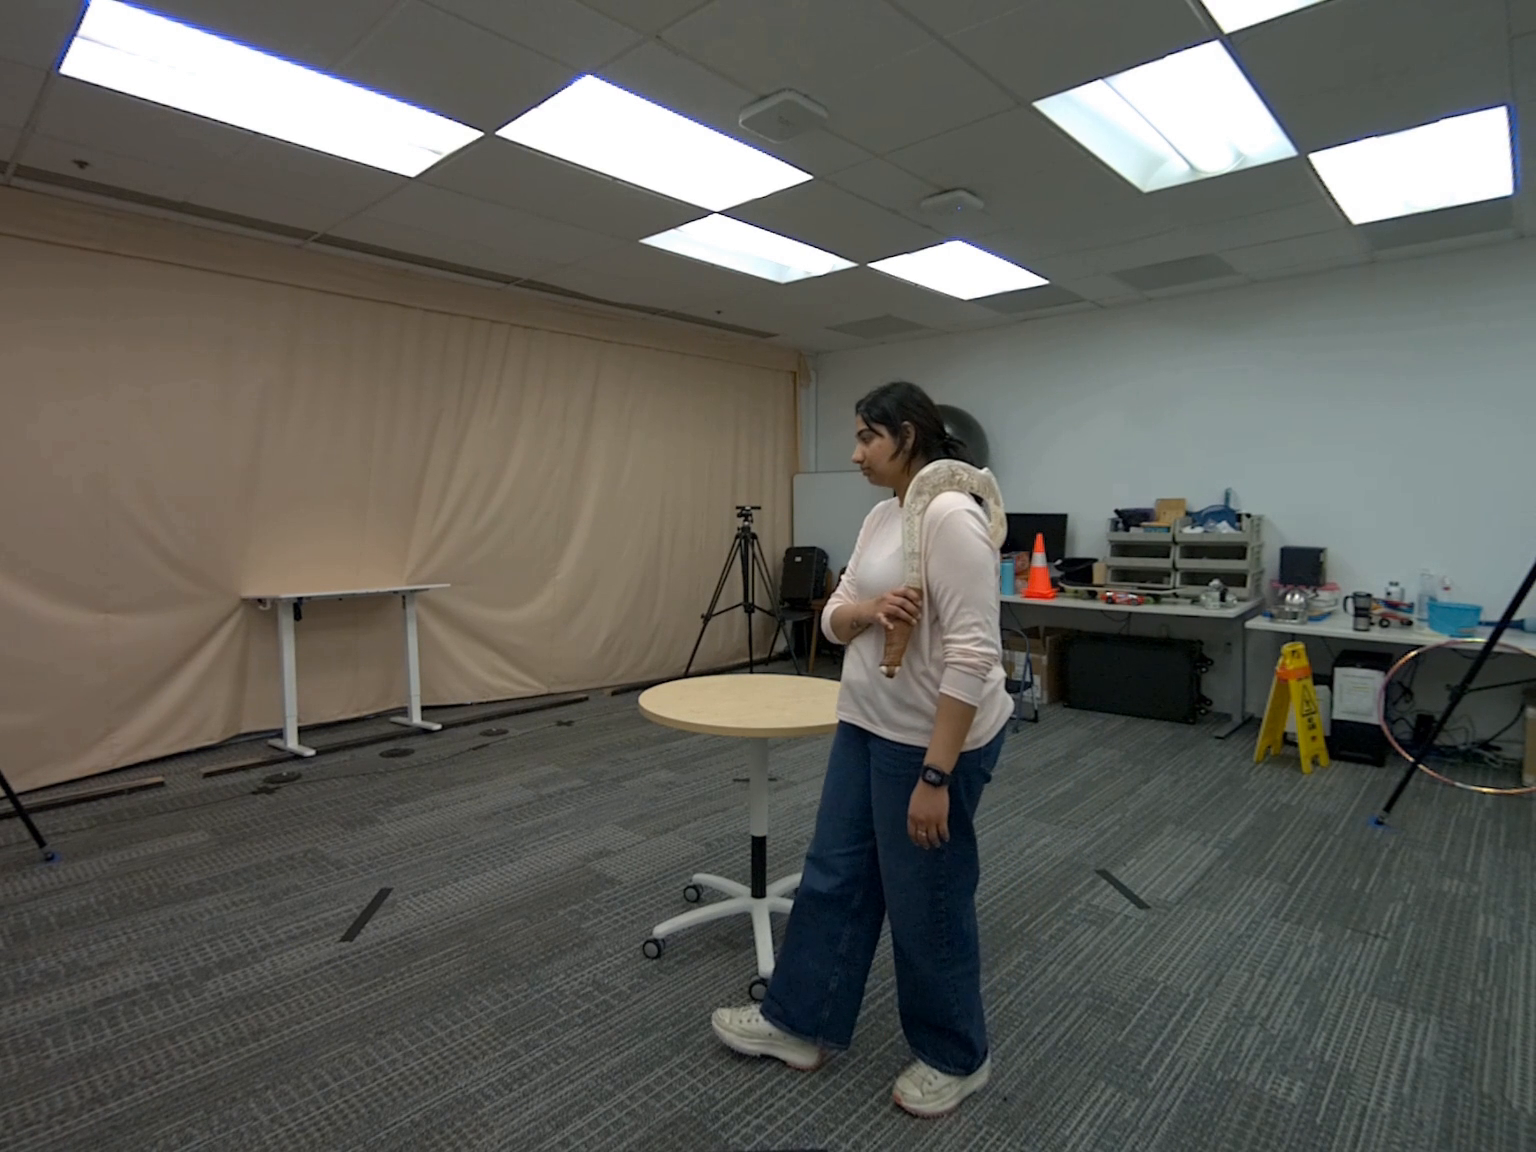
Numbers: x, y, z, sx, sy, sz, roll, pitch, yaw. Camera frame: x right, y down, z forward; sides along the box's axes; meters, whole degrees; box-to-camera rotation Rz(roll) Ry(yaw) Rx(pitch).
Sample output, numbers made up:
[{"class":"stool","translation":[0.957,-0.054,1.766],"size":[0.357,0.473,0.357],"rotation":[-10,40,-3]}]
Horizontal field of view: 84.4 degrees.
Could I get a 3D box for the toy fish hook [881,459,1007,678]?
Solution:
[{"class":"toy fish hook","translation":[0.368,-0.011,1.807],"size":[0.228,0.508,0.047],"rotation":[14,-13,13]}]
